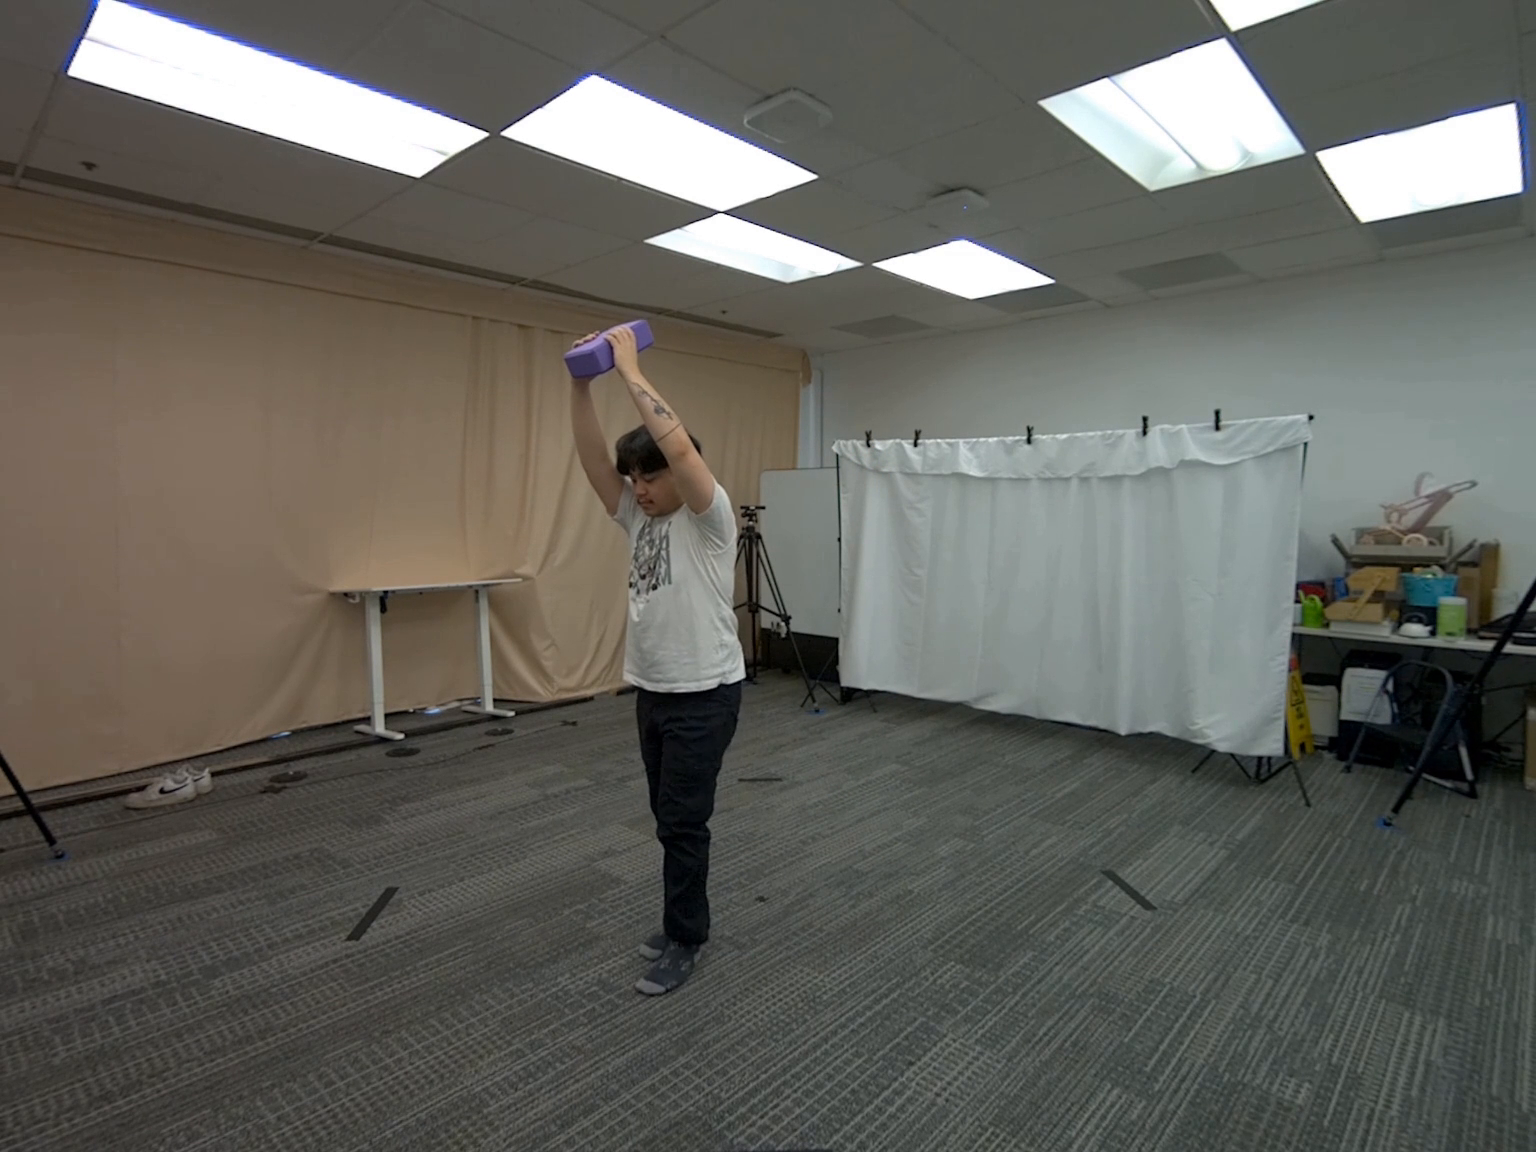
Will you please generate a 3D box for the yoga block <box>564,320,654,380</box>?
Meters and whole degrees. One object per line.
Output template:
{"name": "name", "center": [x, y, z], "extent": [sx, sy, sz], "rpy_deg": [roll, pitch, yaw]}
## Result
{"name": "yoga block", "center": [-0.454, -0.654, 2.427], "extent": [0.154, 0.075, 0.227], "rpy_deg": [4, 37, 42]}
